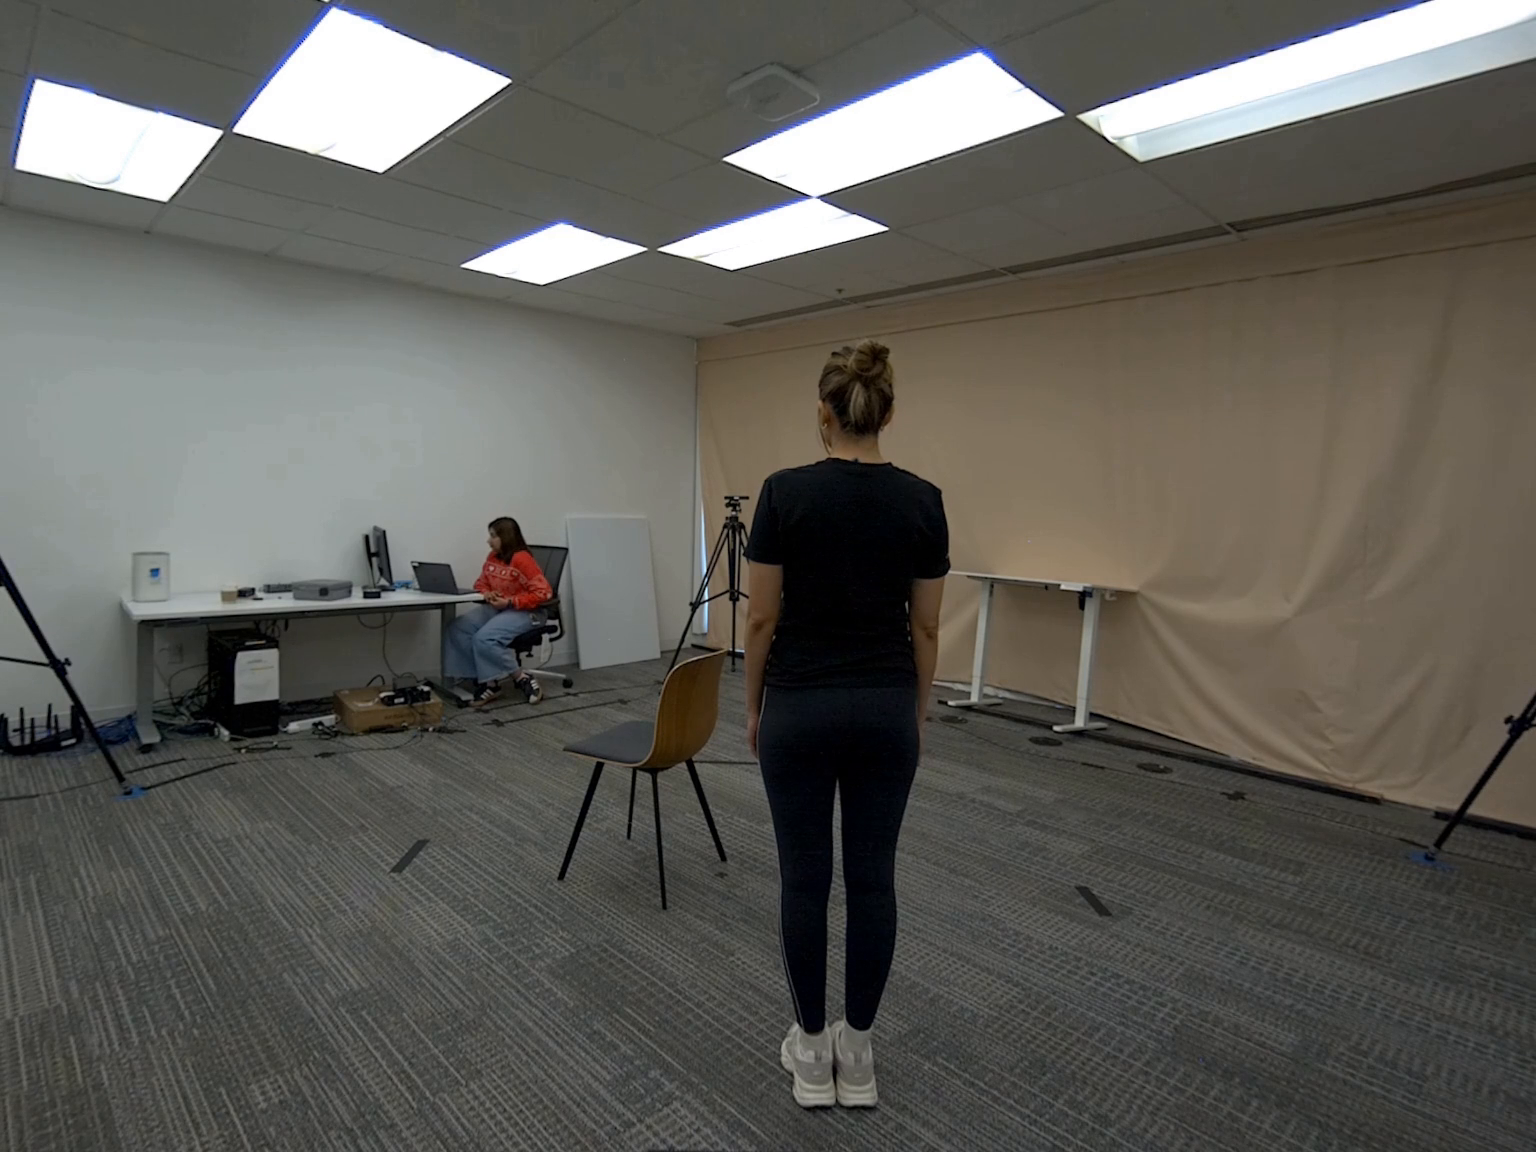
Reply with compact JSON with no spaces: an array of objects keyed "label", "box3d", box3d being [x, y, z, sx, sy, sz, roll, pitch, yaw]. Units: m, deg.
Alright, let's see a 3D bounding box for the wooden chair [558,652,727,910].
[{"label":"wooden chair","box3d":[-0.458,0.669,3.093,0.534,0.874,0.470,8,6,26]}]
